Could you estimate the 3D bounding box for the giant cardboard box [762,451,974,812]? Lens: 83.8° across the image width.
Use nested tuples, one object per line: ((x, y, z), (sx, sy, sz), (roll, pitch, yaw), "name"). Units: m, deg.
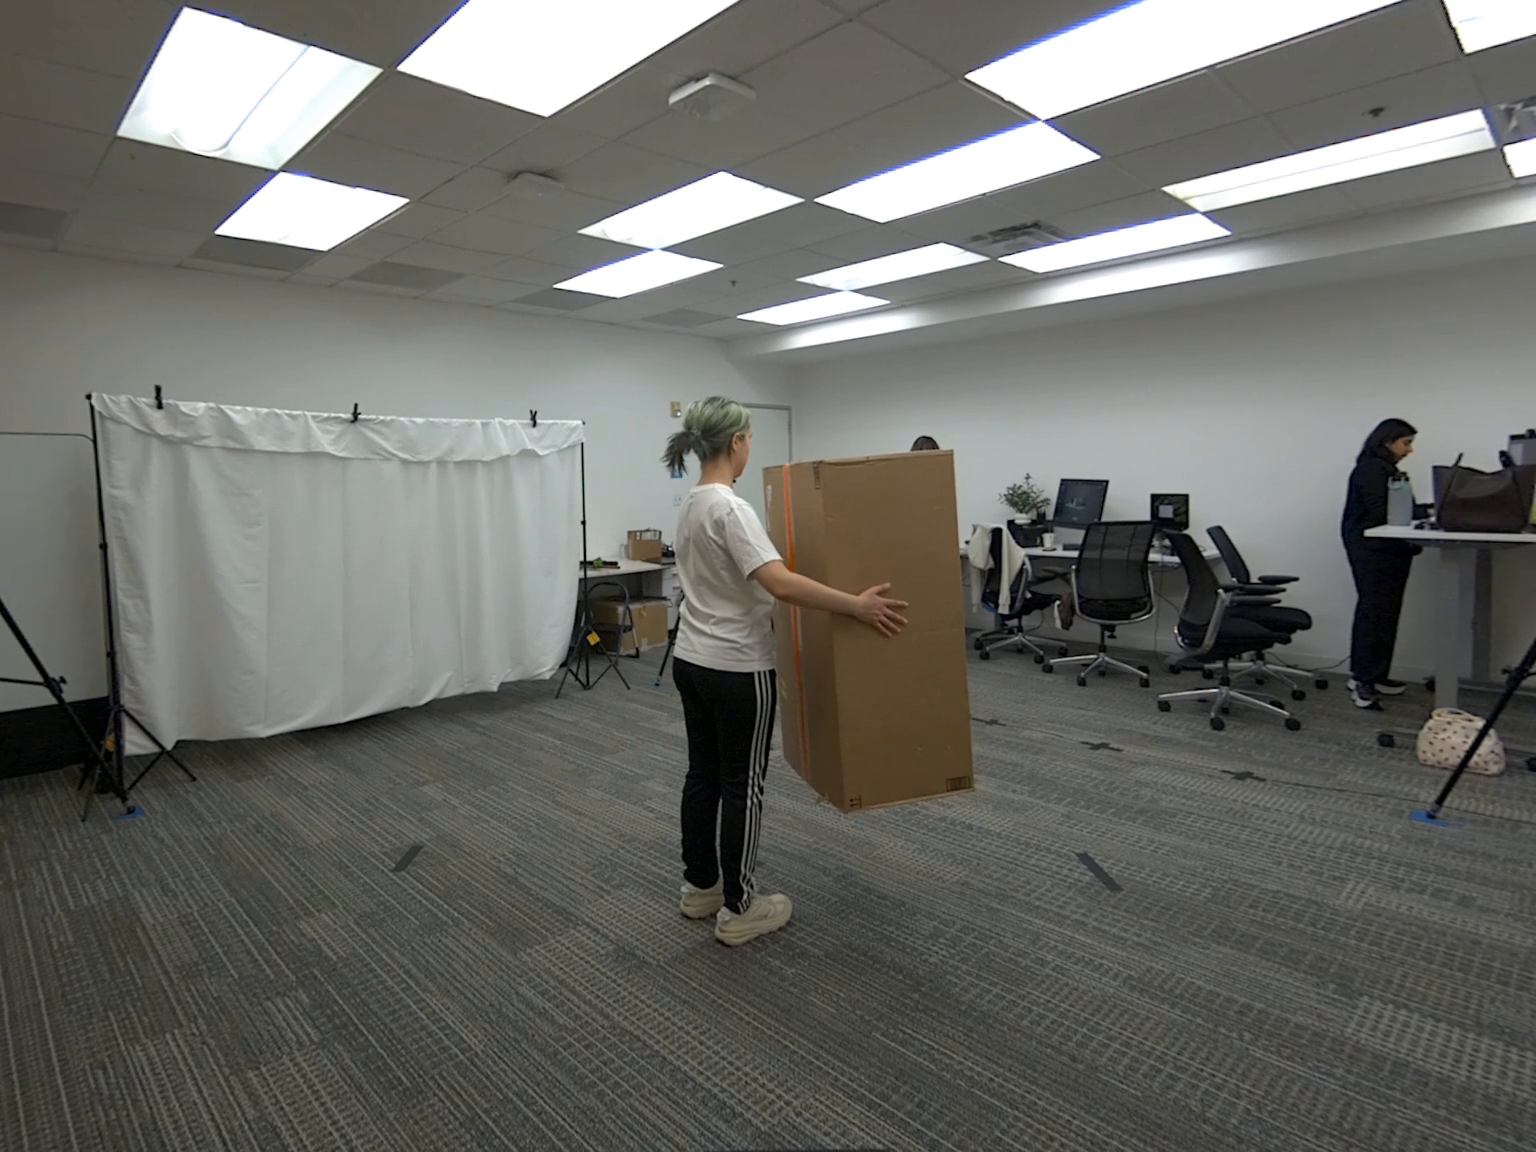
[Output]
((0.295, 0.140, 2.755), (0.421, 1.022, 0.587), (-6, 4, -15), "giant cardboard box")
